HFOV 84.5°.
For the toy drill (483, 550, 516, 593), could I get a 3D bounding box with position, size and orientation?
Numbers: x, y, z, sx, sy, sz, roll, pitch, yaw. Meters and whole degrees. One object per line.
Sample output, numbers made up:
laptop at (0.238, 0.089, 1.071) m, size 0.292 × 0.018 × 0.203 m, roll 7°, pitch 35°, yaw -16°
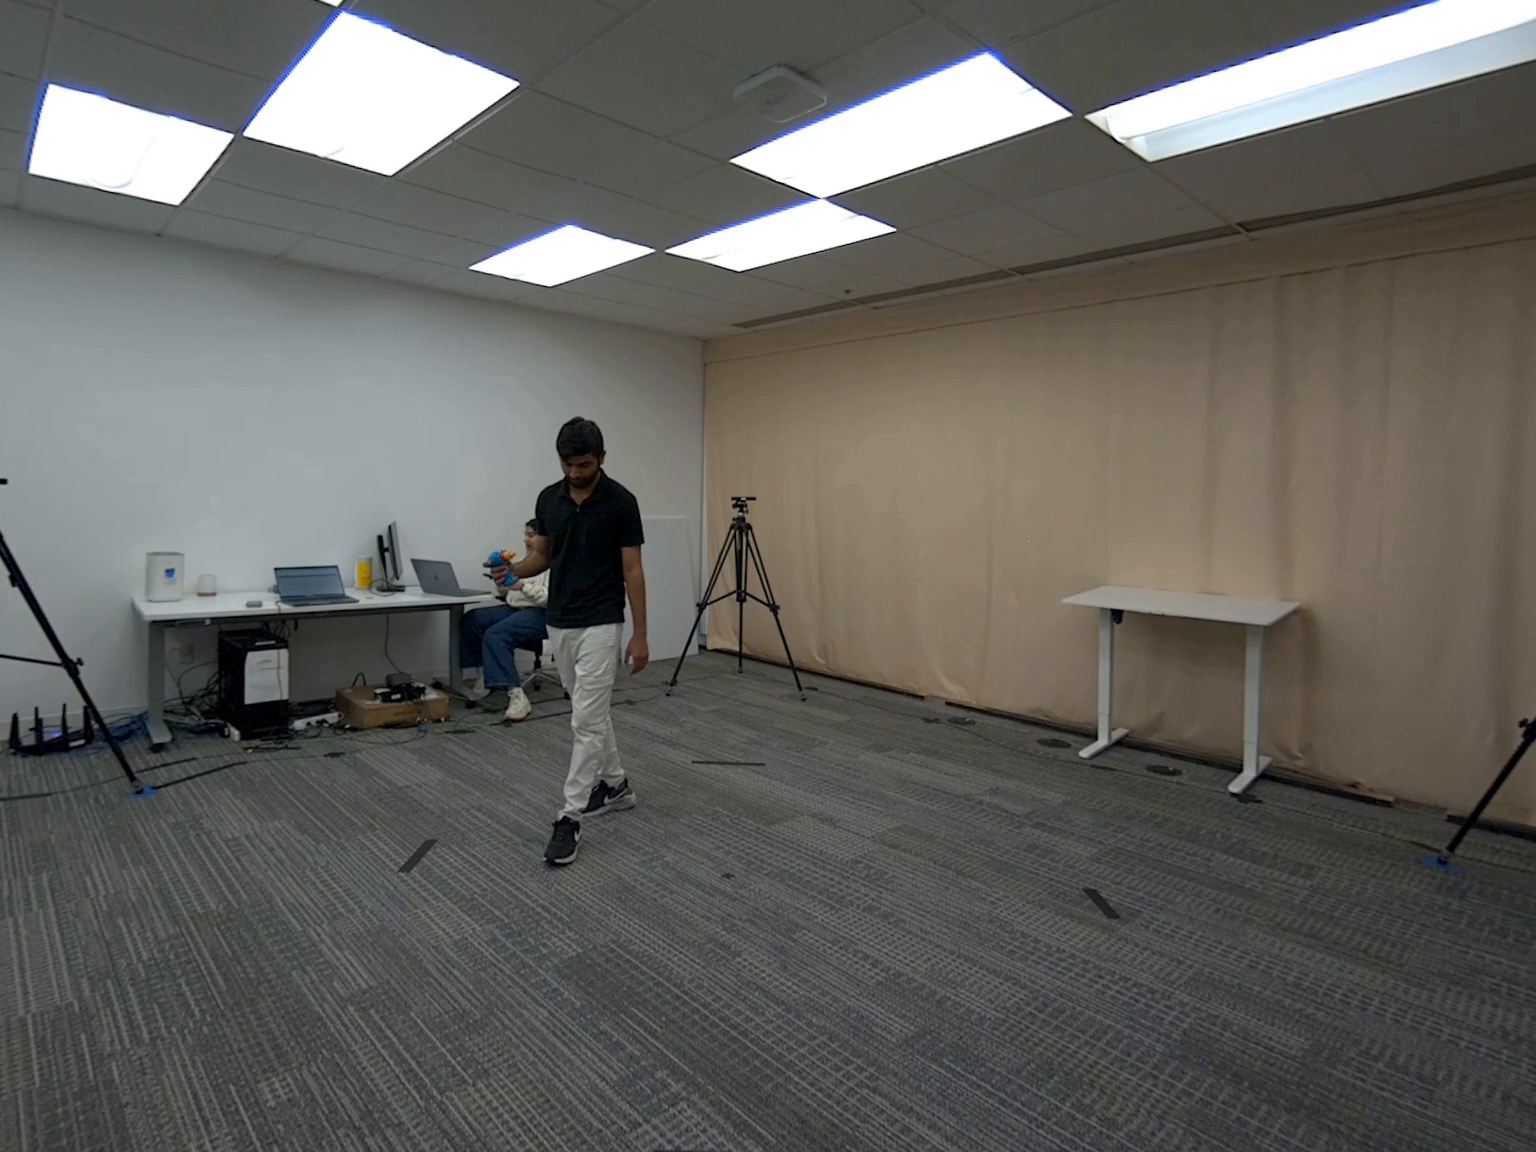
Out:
toy drill at (-1.007, -0.052, 3.240) m, size 0.172 × 0.142 × 0.062 m, roll -11°, pitch 41°, yaw 31°
